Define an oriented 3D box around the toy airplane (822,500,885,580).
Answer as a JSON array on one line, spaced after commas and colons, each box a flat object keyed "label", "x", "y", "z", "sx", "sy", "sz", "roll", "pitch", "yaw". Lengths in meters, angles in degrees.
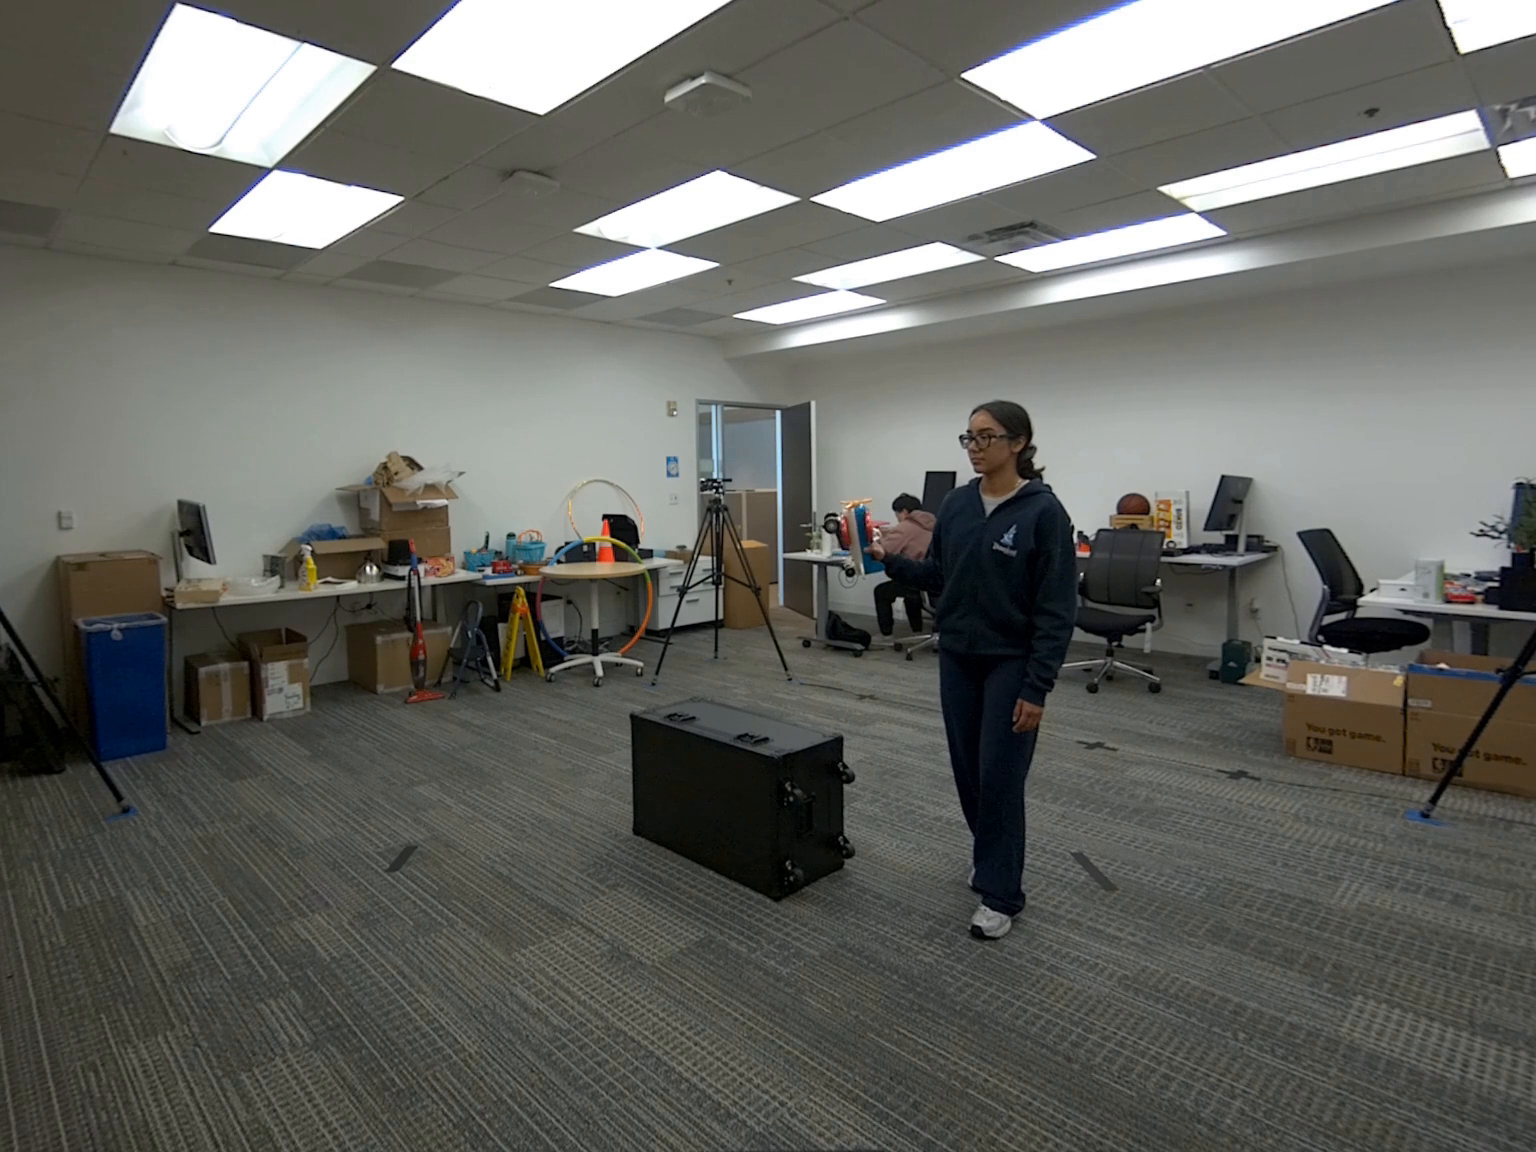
[{"label": "toy airplane", "x": 0.290, "y": -0.128, "z": 2.858, "sx": 0.157, "sy": 0.250, "sz": 0.258, "roll": -23, "pitch": 38, "yaw": 13}]
